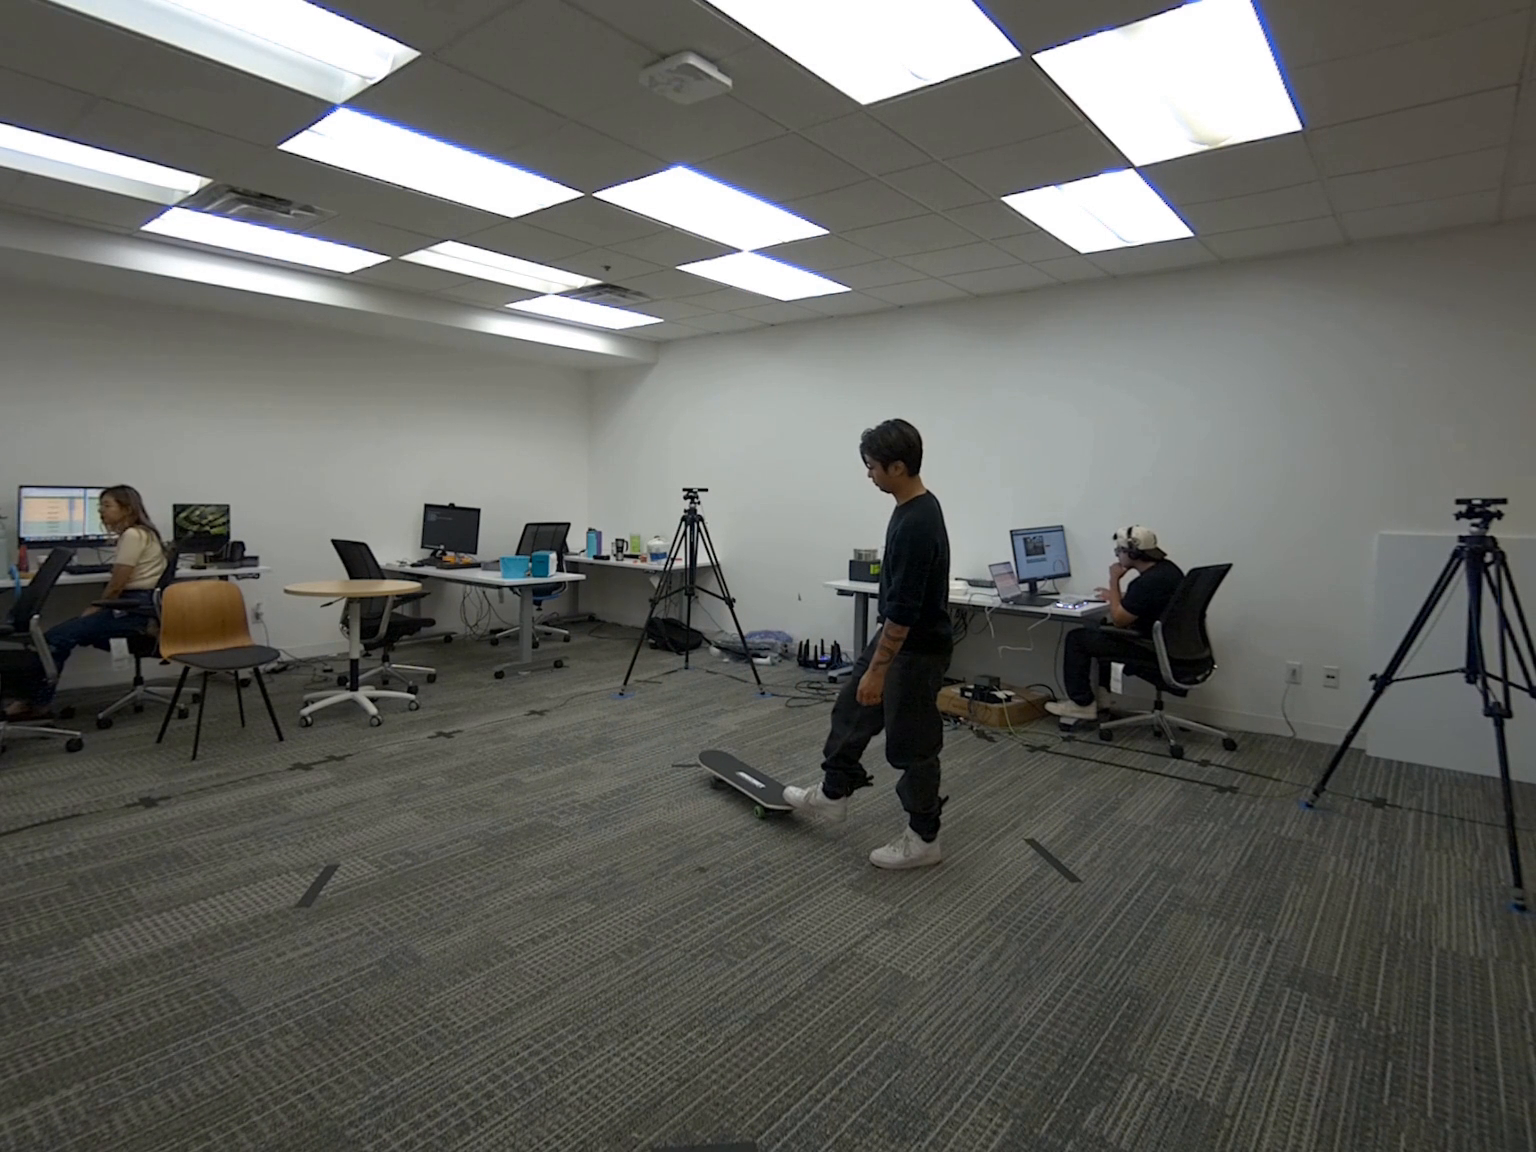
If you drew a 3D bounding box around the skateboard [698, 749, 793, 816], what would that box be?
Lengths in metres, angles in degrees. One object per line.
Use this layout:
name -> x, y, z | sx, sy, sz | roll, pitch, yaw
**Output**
skateboard -> -0.090, 0.942, 3.814 | 0.188, 0.110, 0.811 | -2, 7, -32
